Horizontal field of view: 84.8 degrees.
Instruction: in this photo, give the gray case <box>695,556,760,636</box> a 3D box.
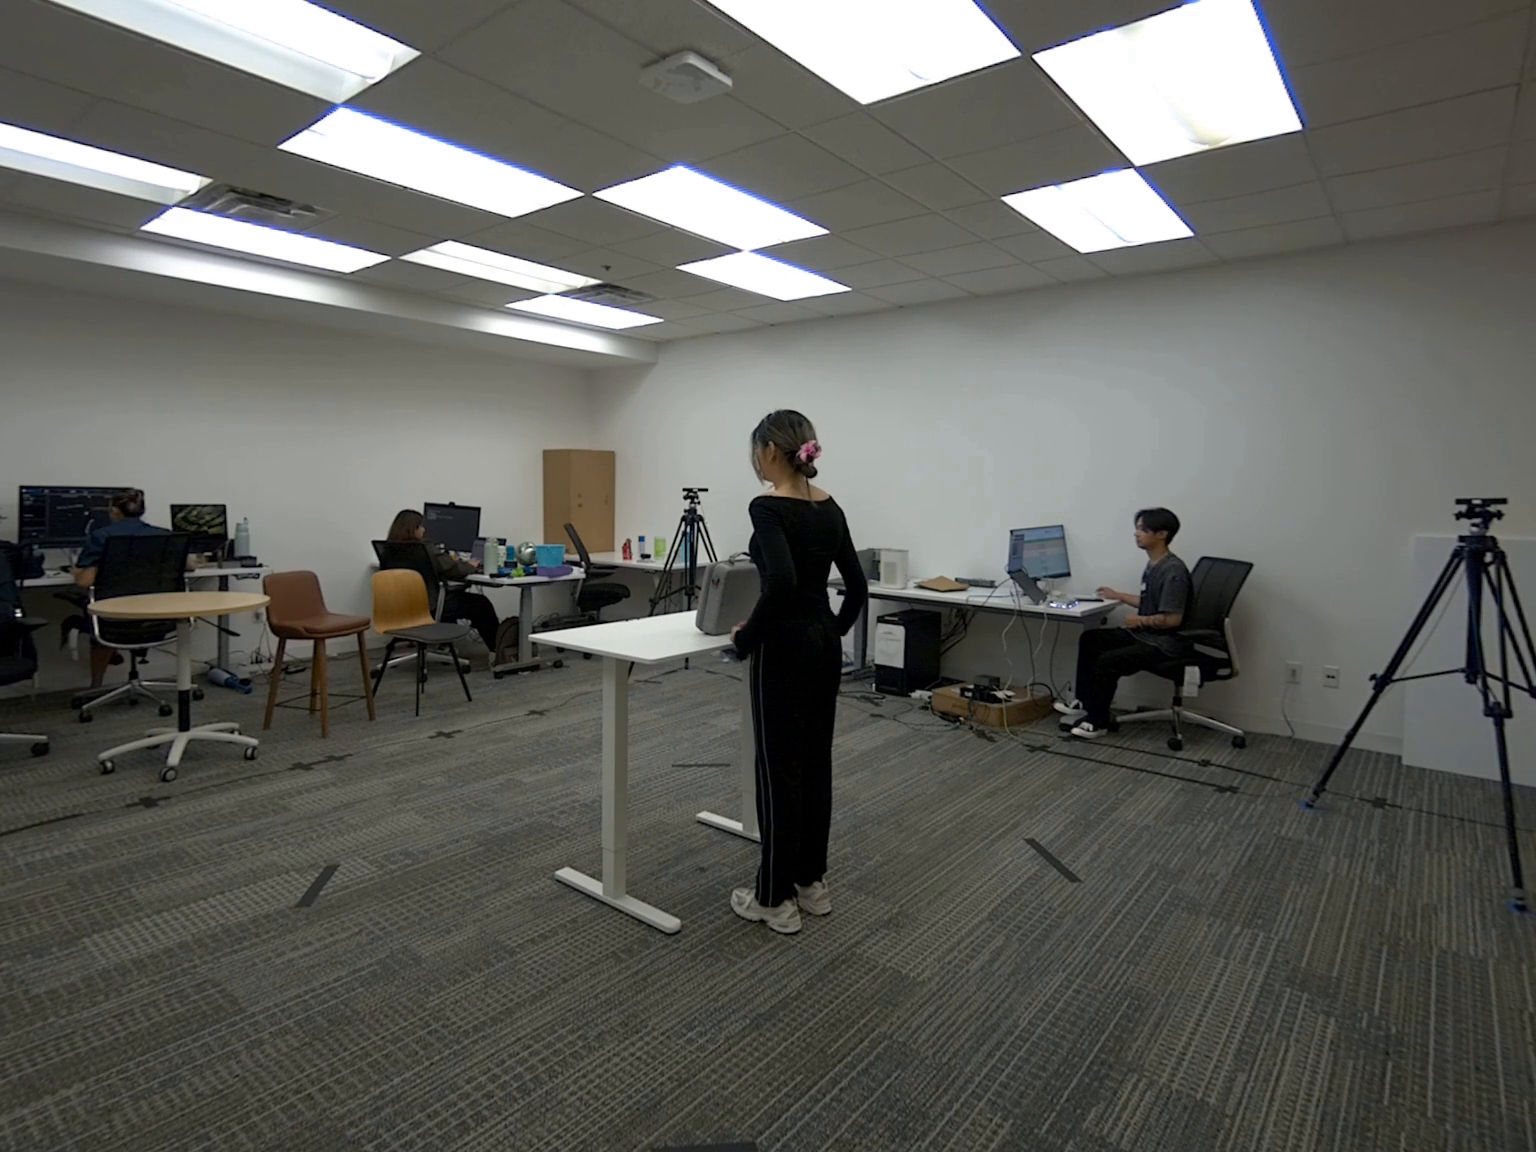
[{"bbox_3d":[-0.133,0.066,3.012,0.108,0.258,0.249,18,14,39],"label":"gray case"}]
